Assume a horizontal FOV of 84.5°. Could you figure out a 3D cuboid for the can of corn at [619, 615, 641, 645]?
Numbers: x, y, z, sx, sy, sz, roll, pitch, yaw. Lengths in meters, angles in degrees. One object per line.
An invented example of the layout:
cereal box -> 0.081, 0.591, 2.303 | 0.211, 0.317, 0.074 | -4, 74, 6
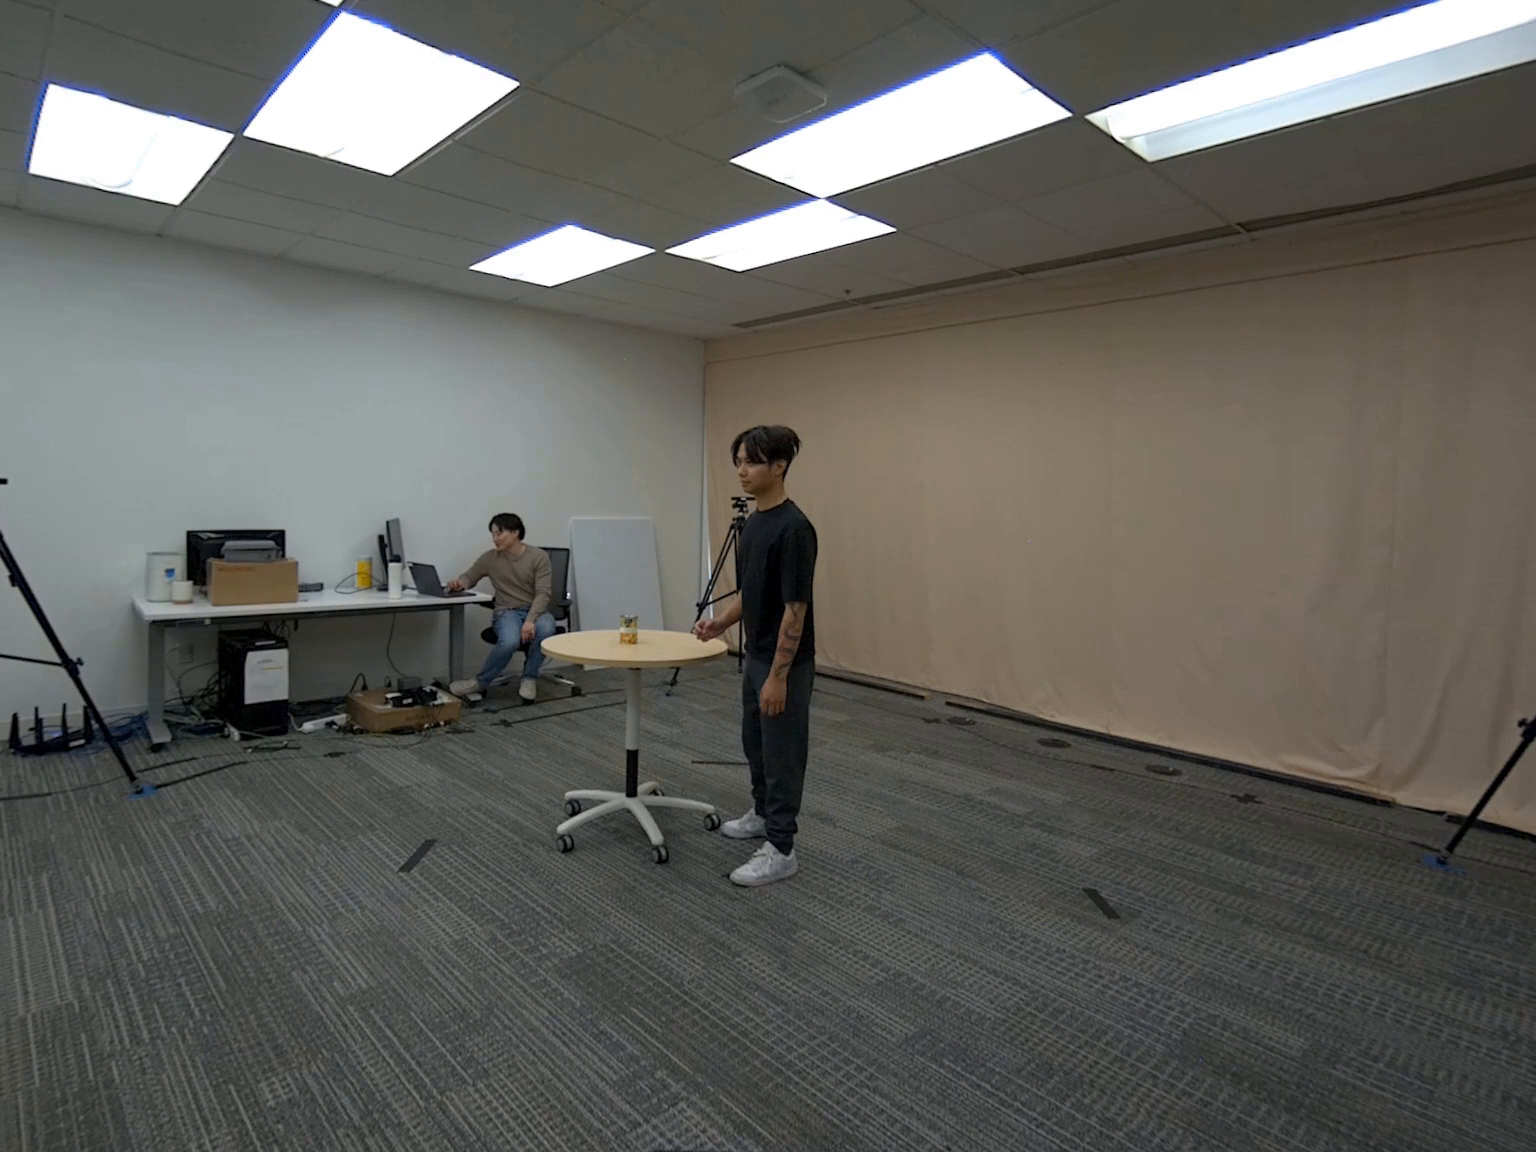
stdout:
can of corn -> -0.571, 0.221, 3.489 | 0.074, 0.111, 0.074 | 1, 0, -1
